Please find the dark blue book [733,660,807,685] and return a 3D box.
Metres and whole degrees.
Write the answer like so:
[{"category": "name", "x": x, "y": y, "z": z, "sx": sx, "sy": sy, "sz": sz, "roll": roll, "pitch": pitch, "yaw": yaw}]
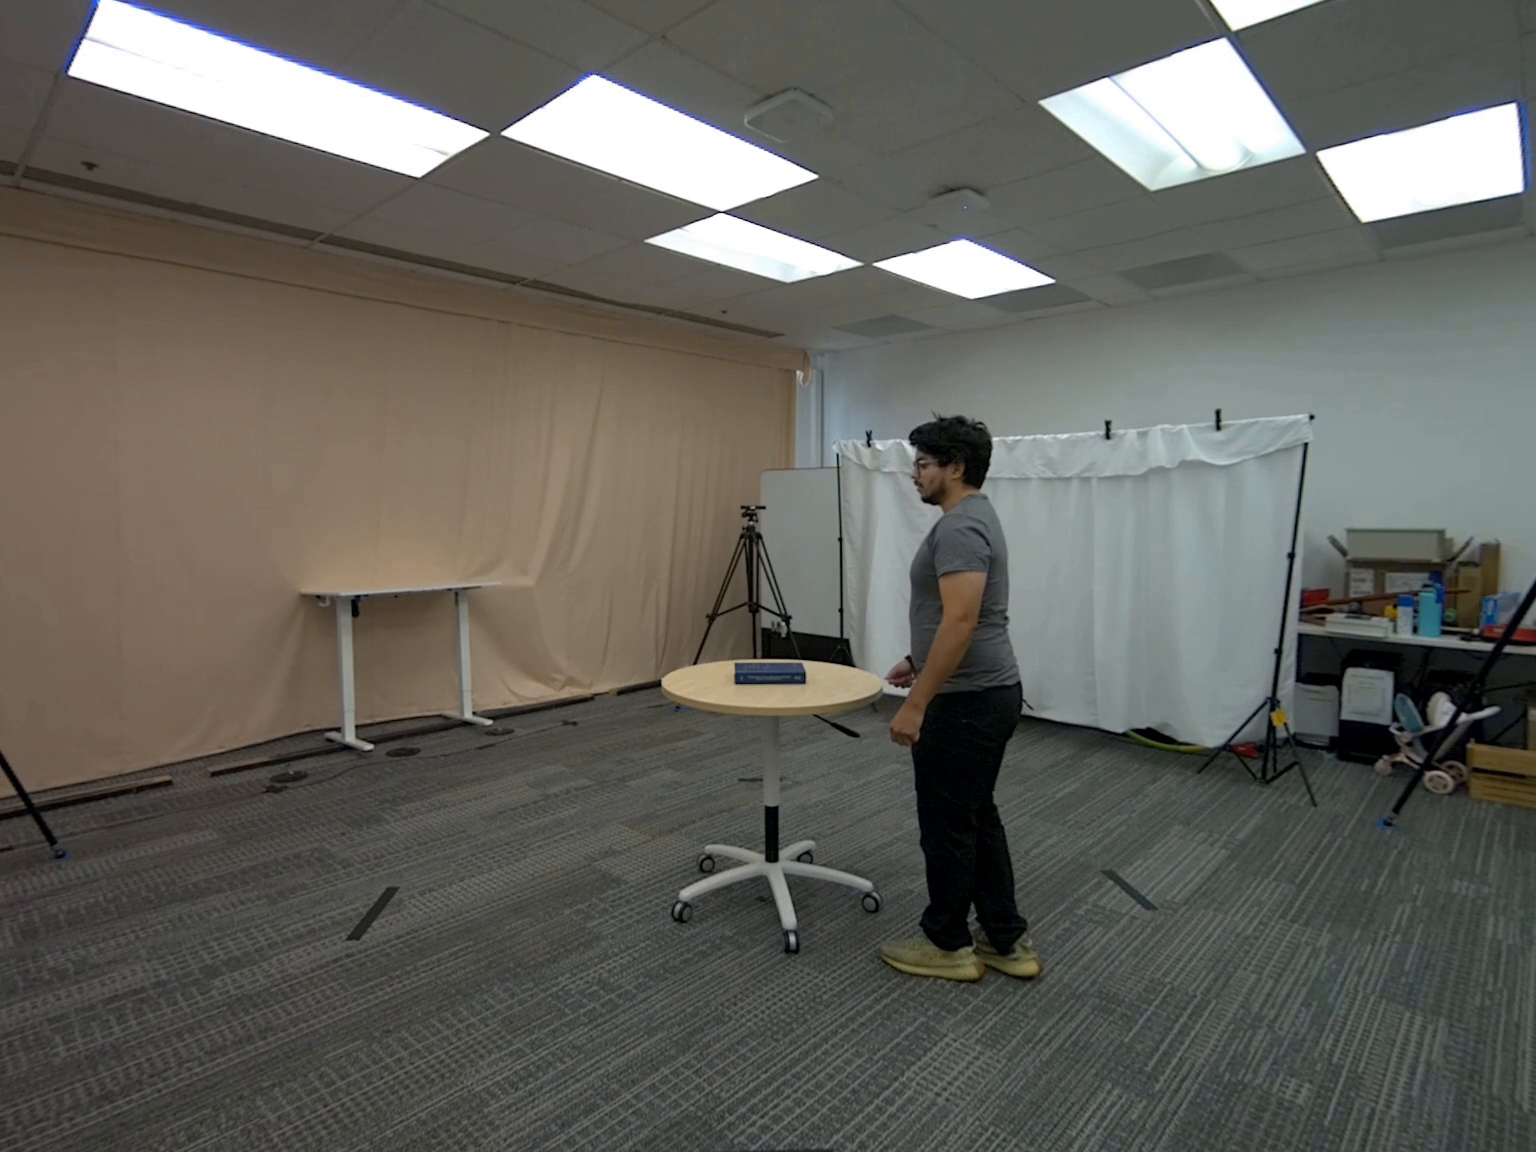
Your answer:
[{"category": "dark blue book", "x": 0.011, "y": 0.345, "z": 2.944, "sx": 0.245, "sy": 0.045, "sz": 0.164, "roll": 0, "pitch": 4, "yaw": -1}]
